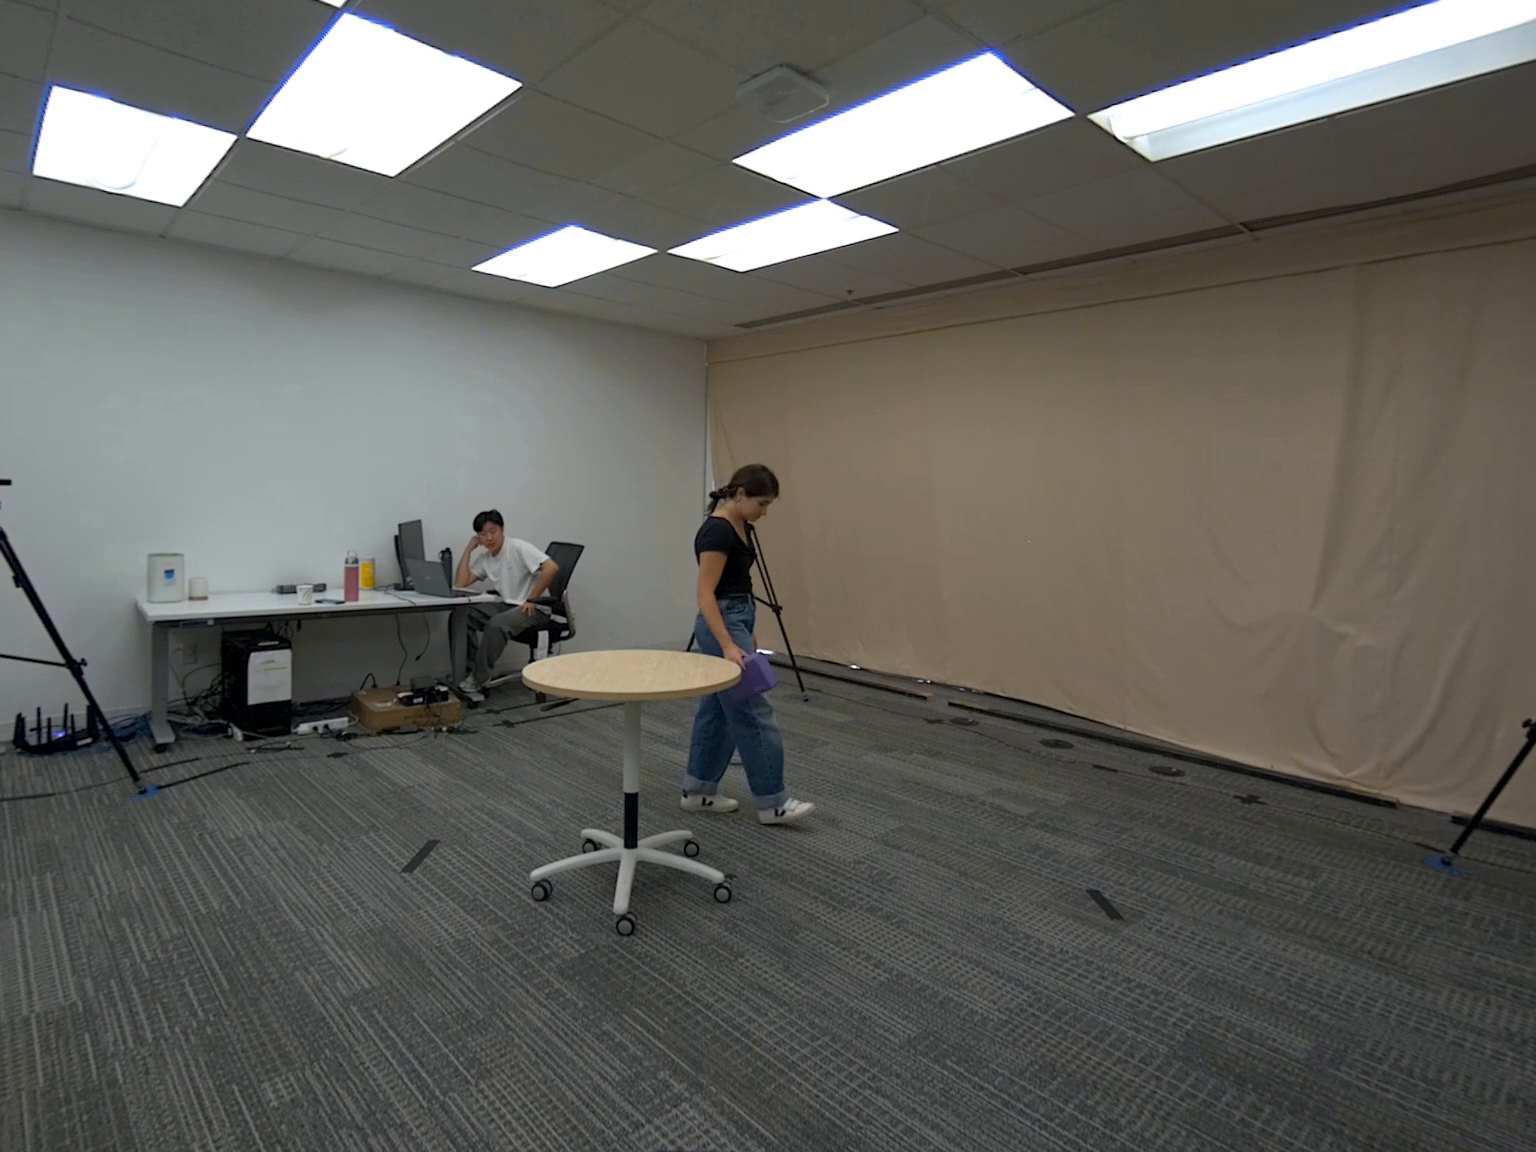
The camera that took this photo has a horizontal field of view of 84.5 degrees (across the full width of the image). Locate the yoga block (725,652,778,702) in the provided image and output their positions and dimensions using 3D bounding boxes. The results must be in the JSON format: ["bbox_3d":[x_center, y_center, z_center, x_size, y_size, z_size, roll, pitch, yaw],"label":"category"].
[{"bbox_3d":[-0.085,0.412,3.407,0.231,0.149,0.076,-29,2,40],"label":"yoga block"}]
